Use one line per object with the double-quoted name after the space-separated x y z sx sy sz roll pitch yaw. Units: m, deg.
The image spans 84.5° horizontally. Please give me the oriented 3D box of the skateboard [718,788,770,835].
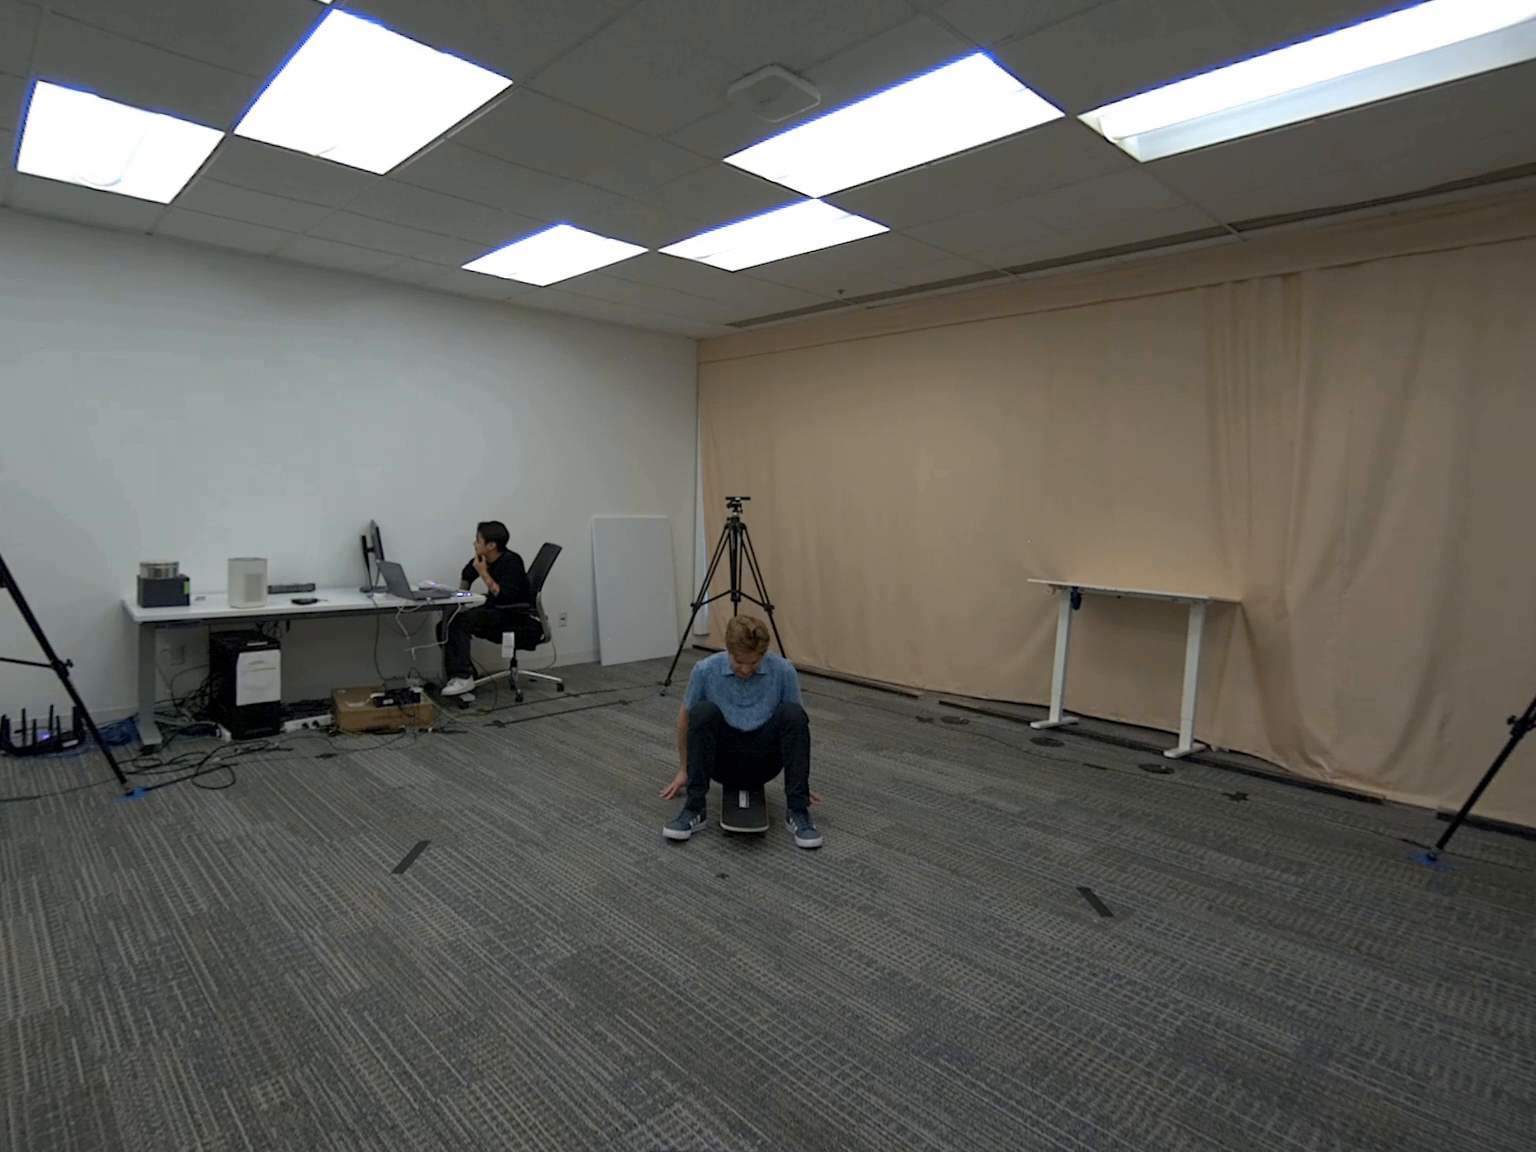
-0.112 1.003 3.667 0.193 0.110 0.787 2 3 -3 "skateboard"
